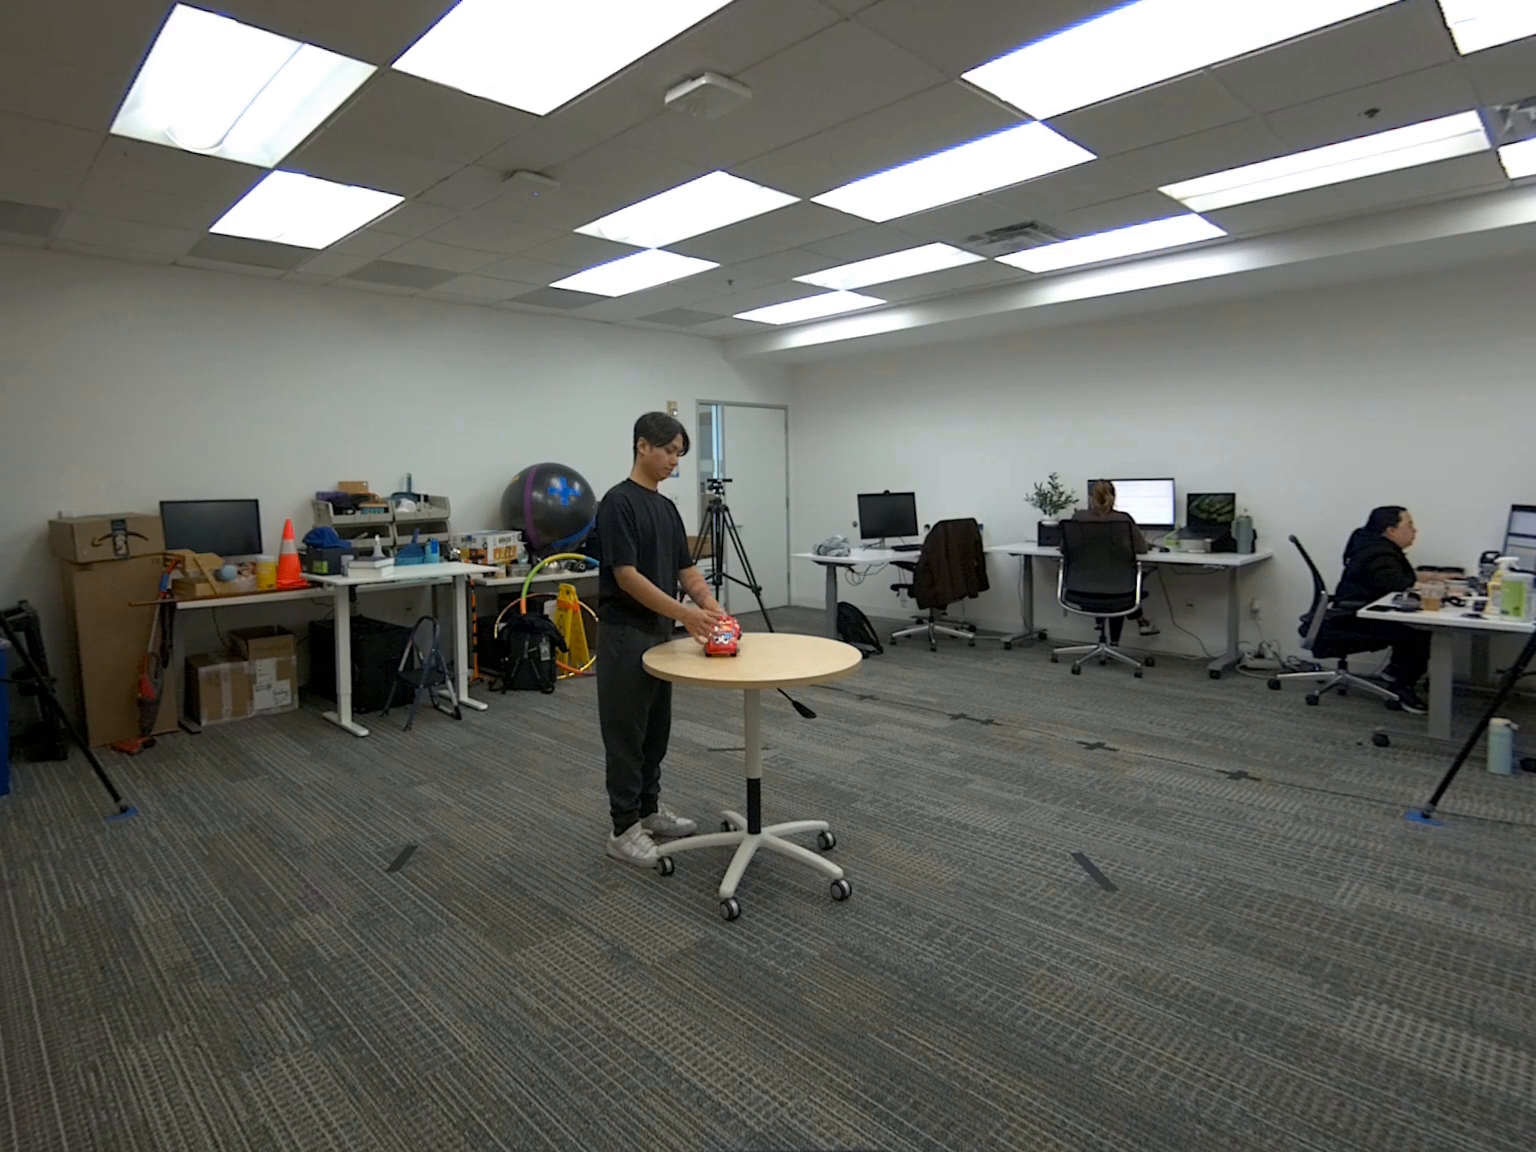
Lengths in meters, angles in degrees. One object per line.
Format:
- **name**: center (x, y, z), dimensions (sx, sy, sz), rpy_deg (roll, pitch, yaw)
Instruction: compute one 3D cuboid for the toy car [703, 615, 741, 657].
- **toy car**: center (-0.156, 0.221, 3.056), dimensions (0.131, 0.081, 0.259), rpy_deg (-1, 26, 4)
